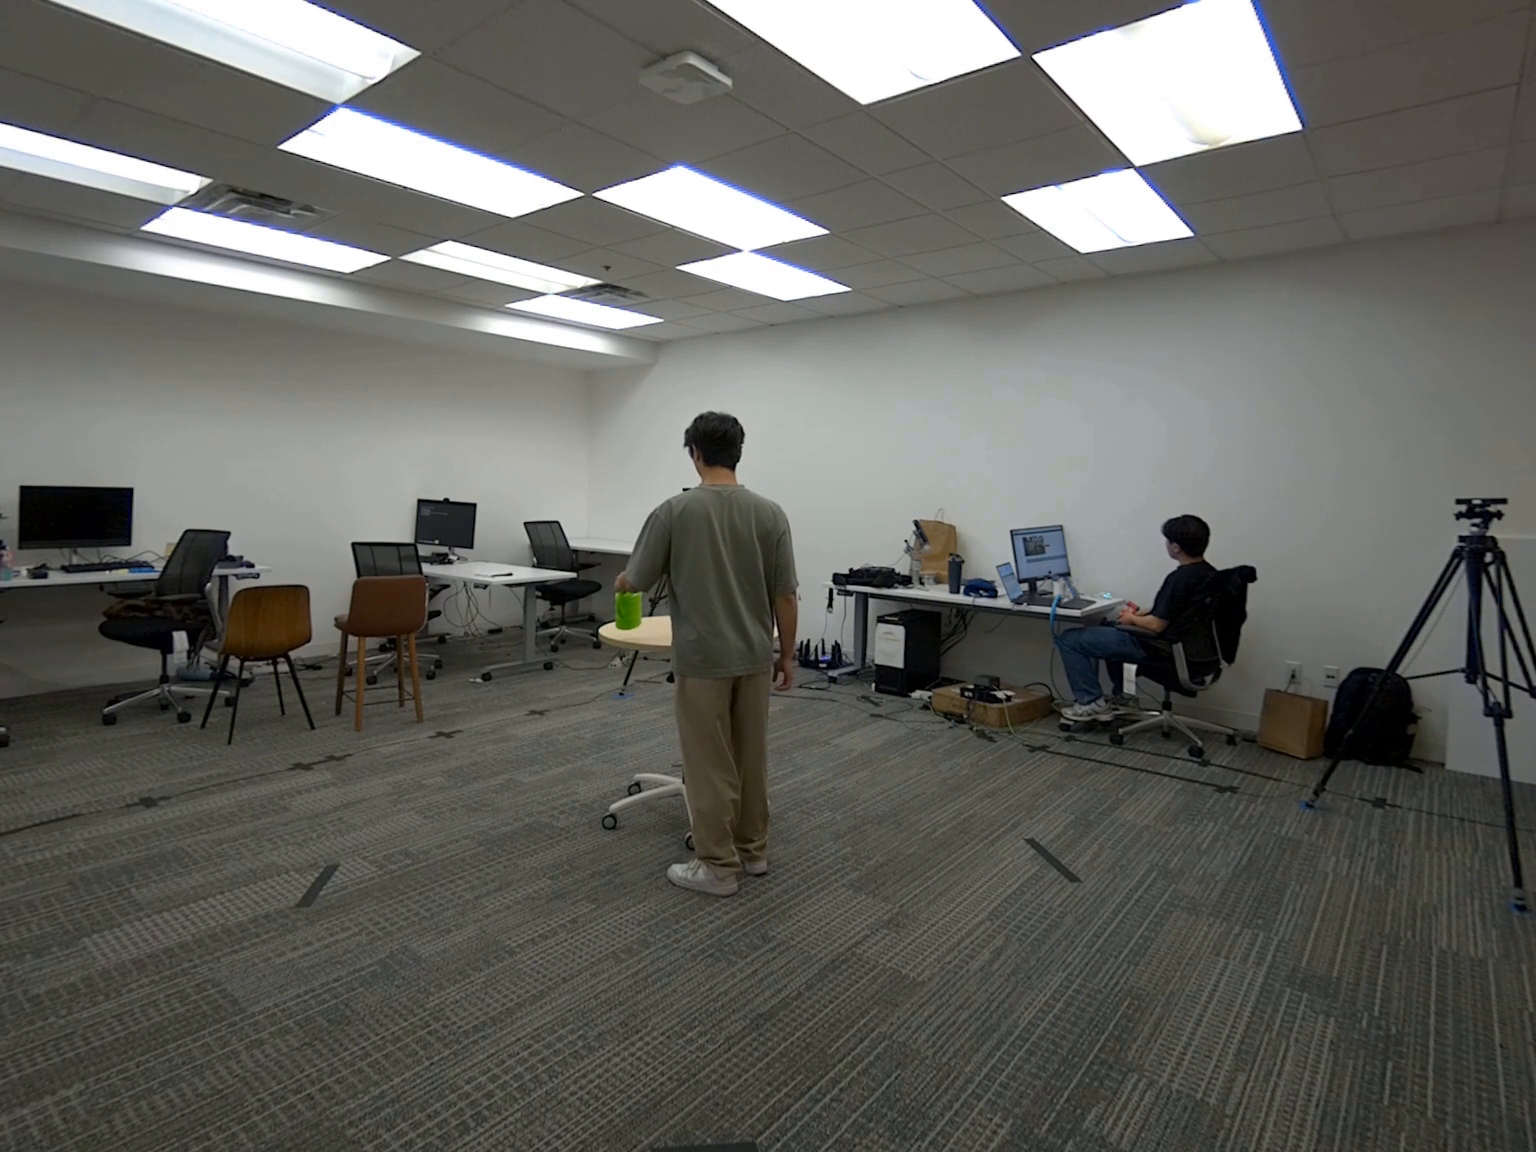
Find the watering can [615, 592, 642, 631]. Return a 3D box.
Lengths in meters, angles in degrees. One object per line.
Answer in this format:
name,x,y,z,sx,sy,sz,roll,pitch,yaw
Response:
watering can,-0.537,0.098,3.359,0.101,0.174,0.274,9,19,26
